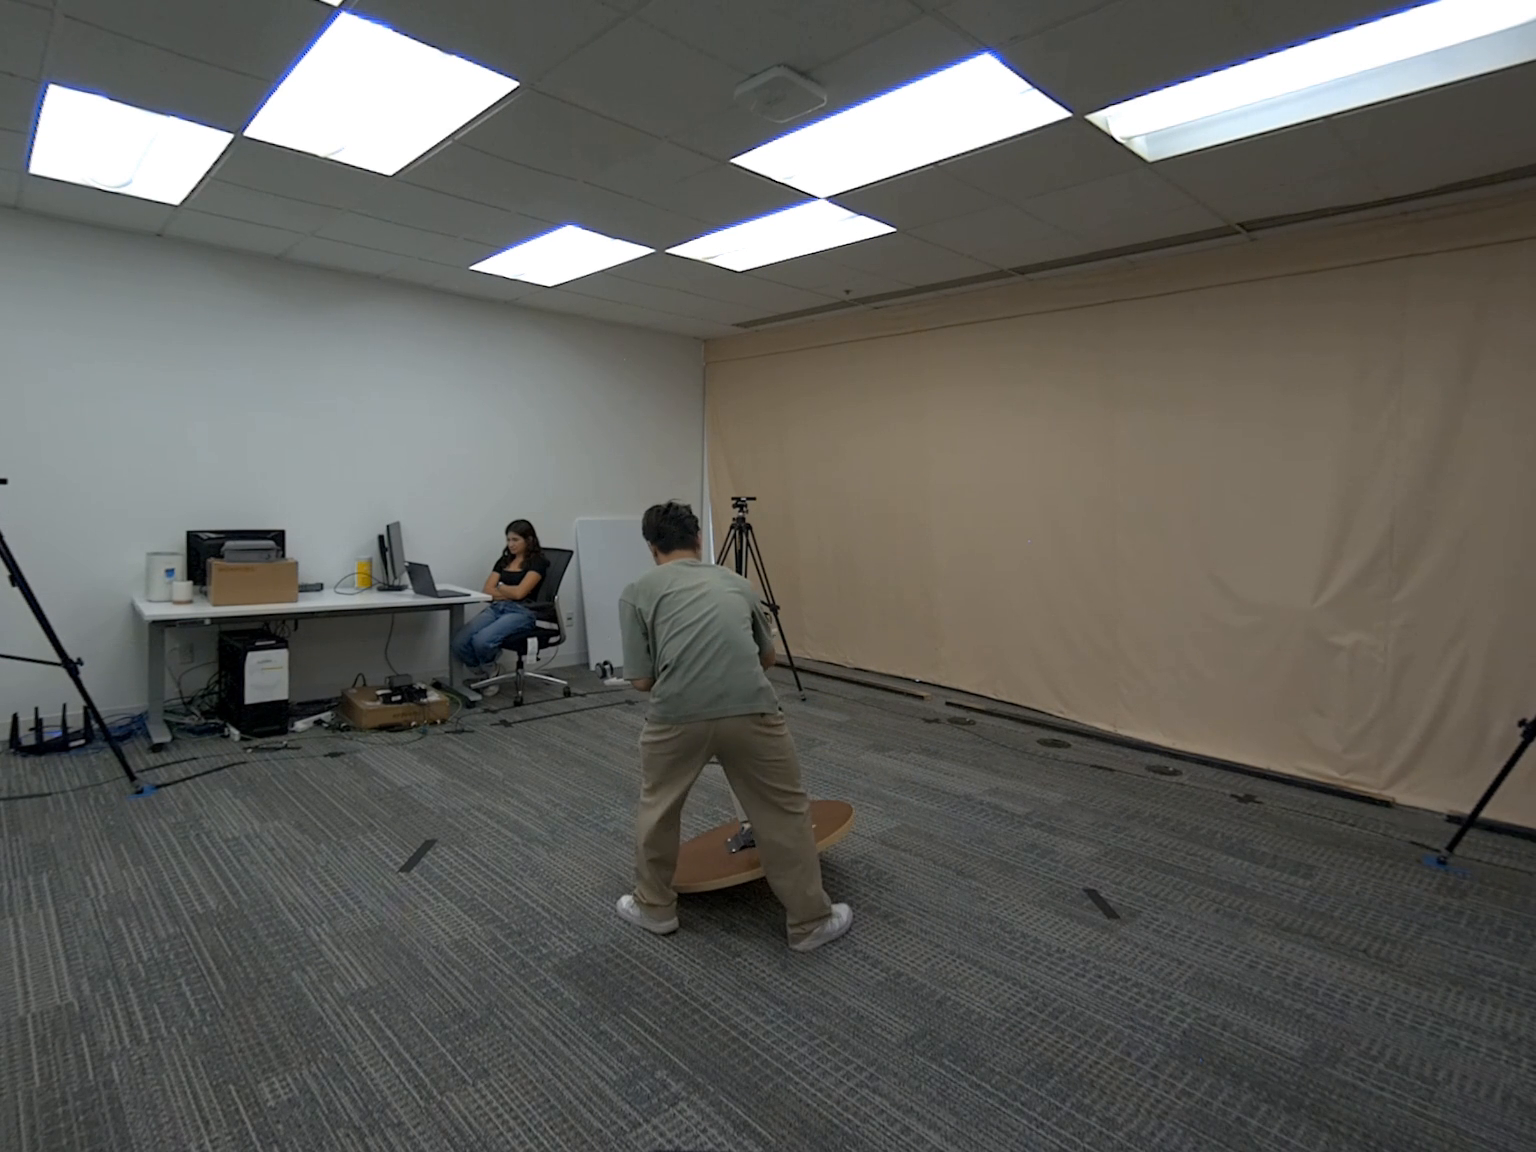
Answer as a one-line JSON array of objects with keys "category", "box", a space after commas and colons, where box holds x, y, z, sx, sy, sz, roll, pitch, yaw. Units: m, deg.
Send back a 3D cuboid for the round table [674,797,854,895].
[{"category": "round table", "box": [-0.169, 0.604, 3.099, 0.784, 0.789, 0.783, -18, -3, -2]}]
